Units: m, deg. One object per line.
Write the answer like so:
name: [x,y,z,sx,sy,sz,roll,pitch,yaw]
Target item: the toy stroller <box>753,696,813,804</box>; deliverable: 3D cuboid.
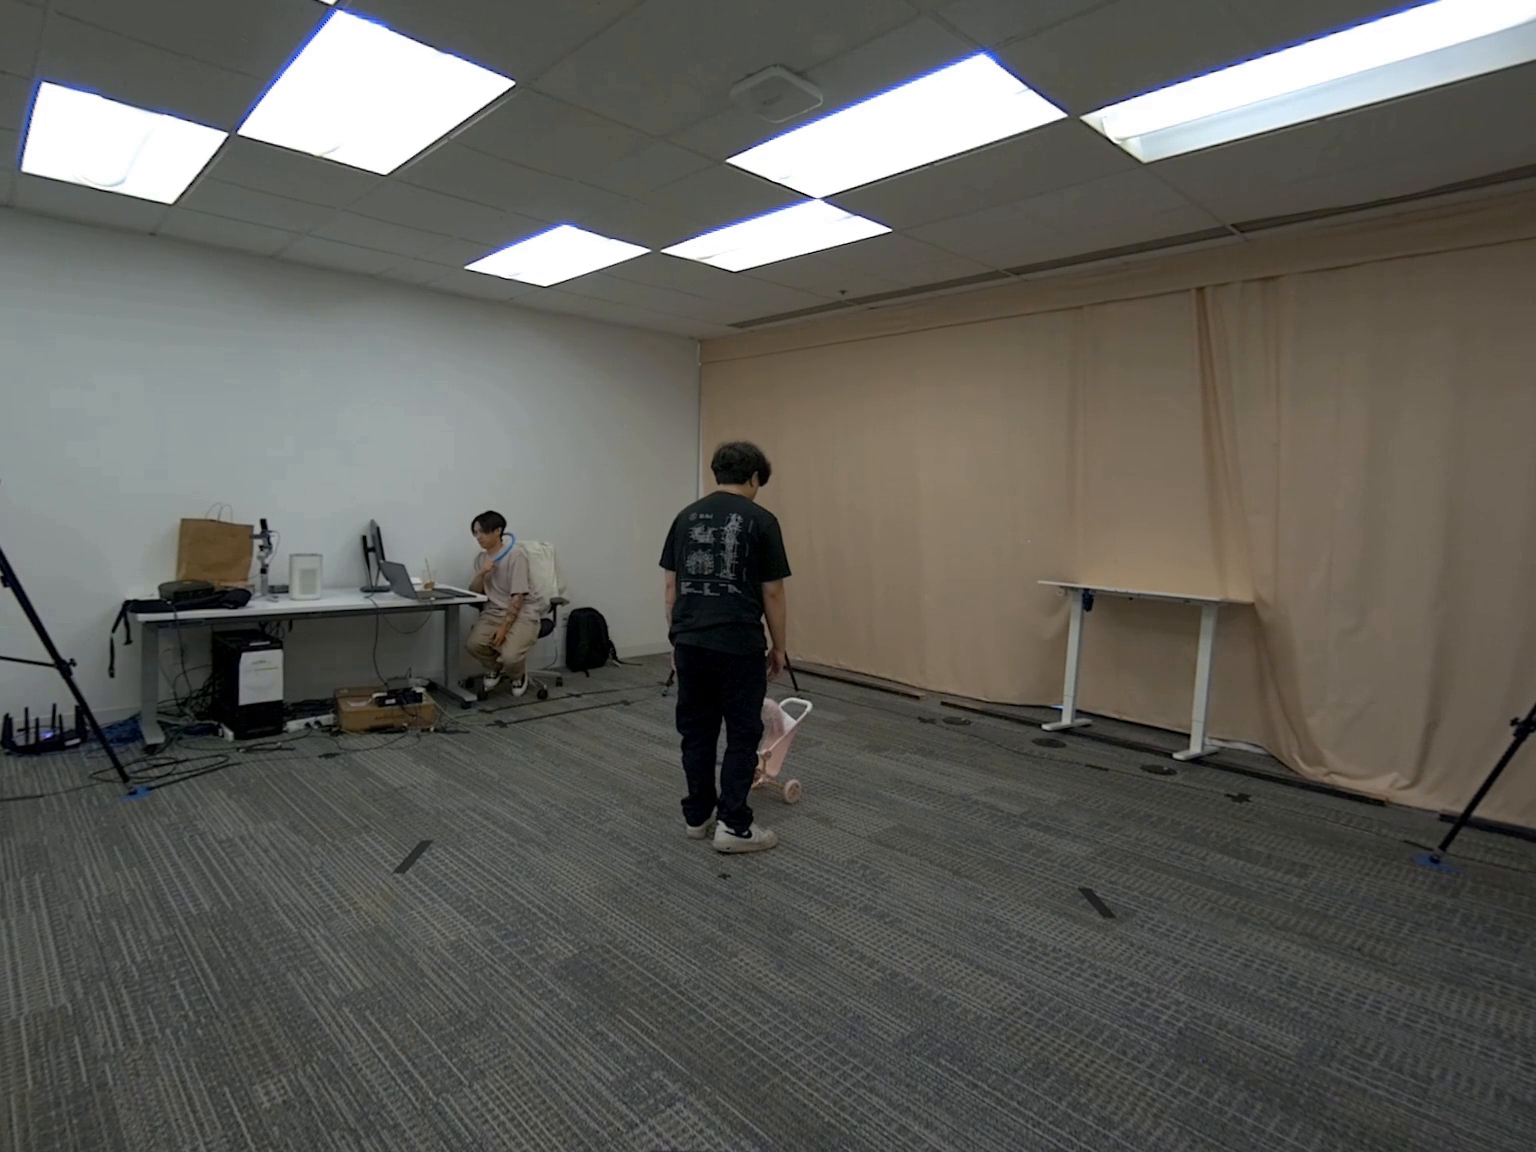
toy stroller: [-0.028,0.816,3.940,0.332,0.537,0.288,18,-7,-35]
